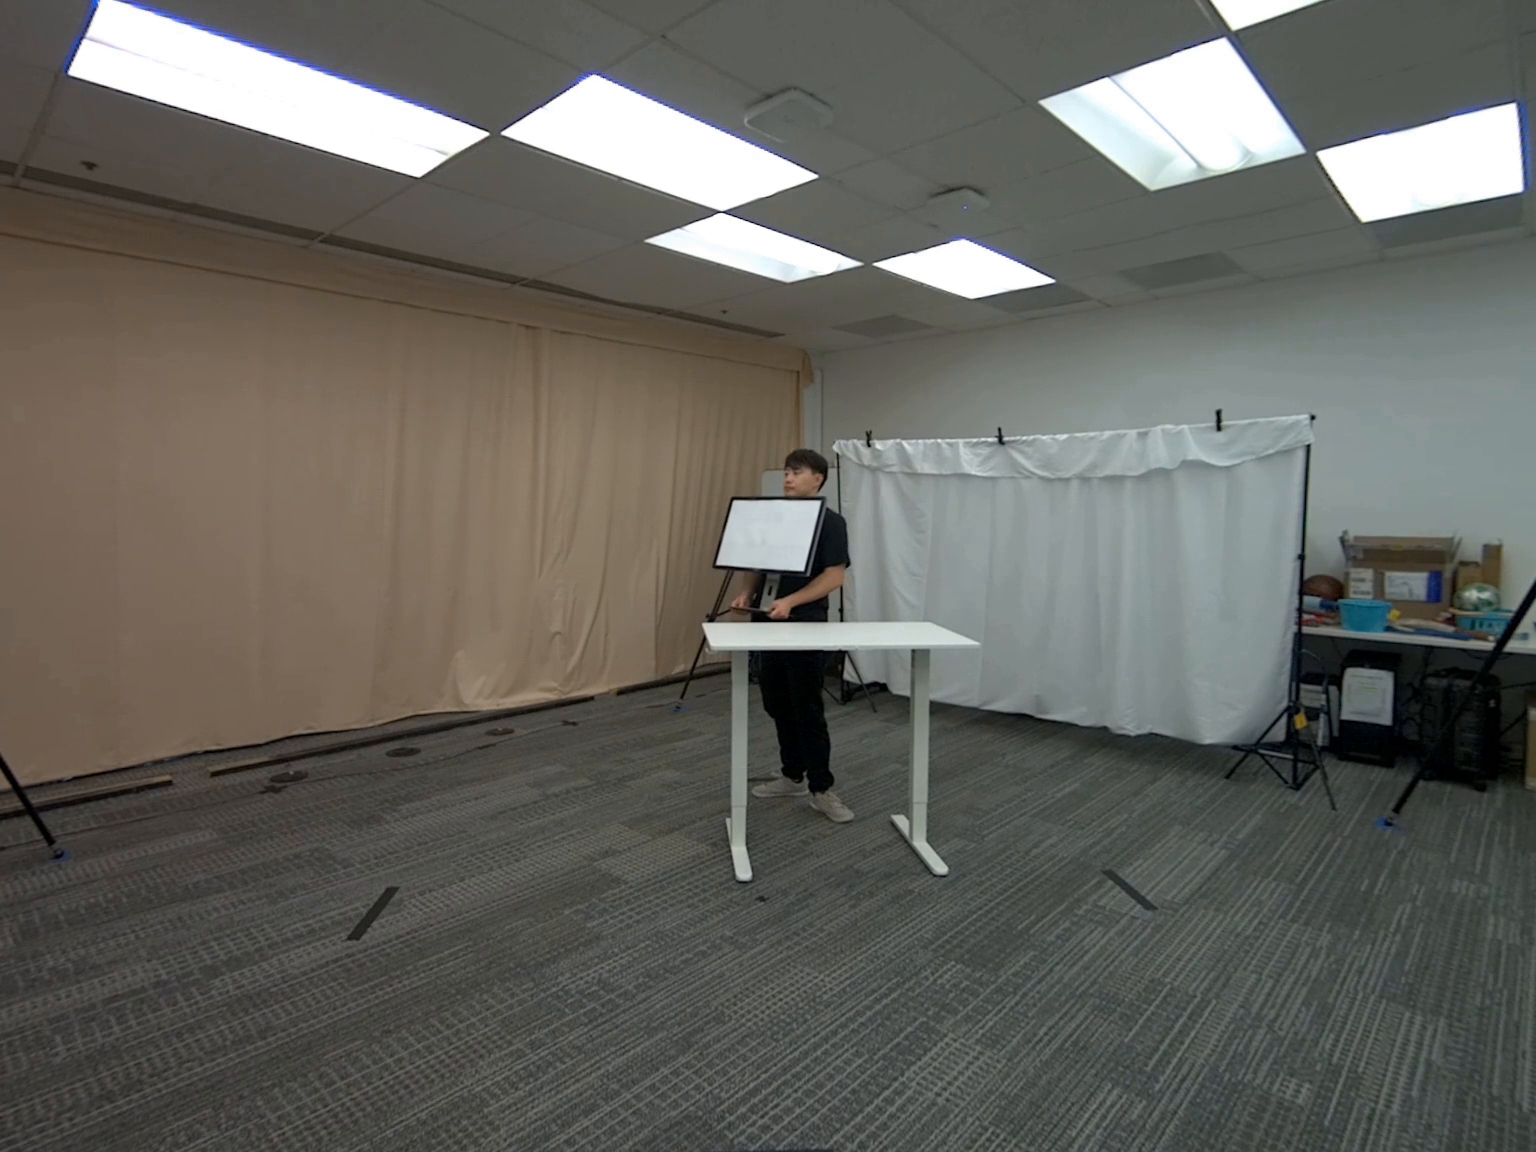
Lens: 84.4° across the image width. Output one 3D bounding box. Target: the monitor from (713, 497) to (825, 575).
[{"bbox_3d":[0.013,-0.099,3.841,0.557,0.523,0.180,3,-5,40],"label":"monitor"}]
